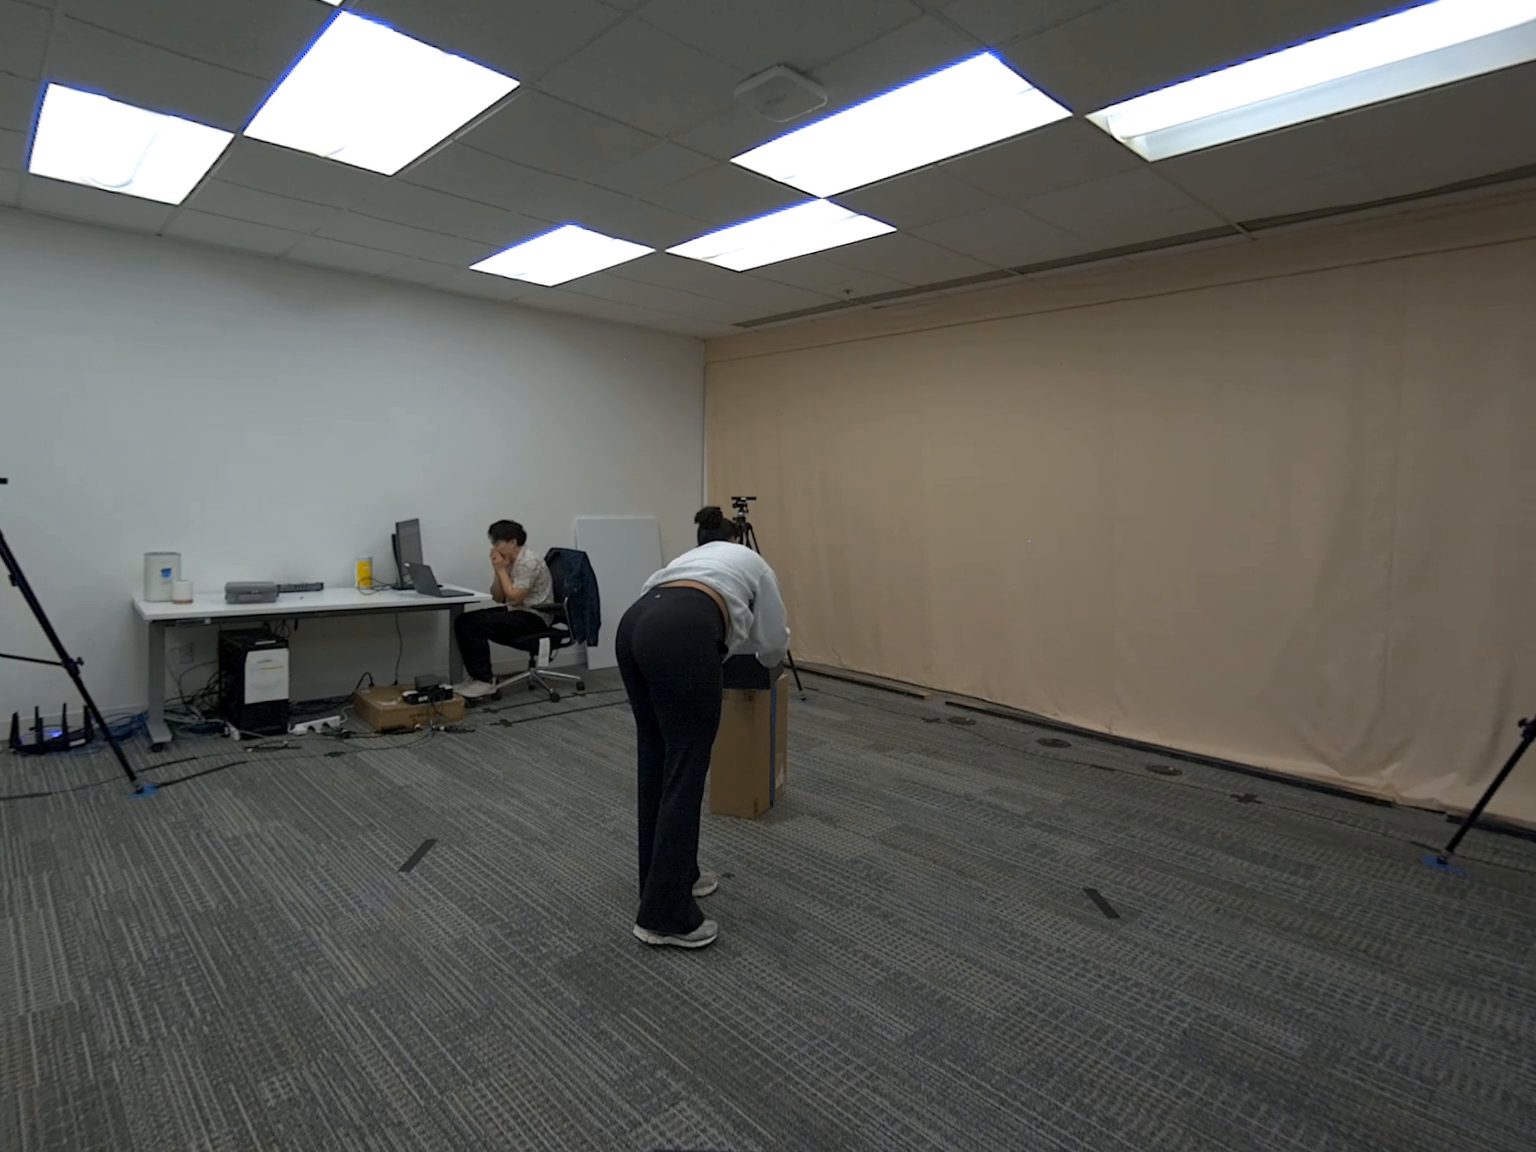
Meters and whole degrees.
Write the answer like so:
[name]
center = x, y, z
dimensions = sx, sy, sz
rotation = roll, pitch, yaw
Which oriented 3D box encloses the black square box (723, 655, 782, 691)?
[black square box]
center = -0.068, 0.384, 3.586
dimensions = 0.231, 0.155, 0.215
rotation = -3, 11, 19
